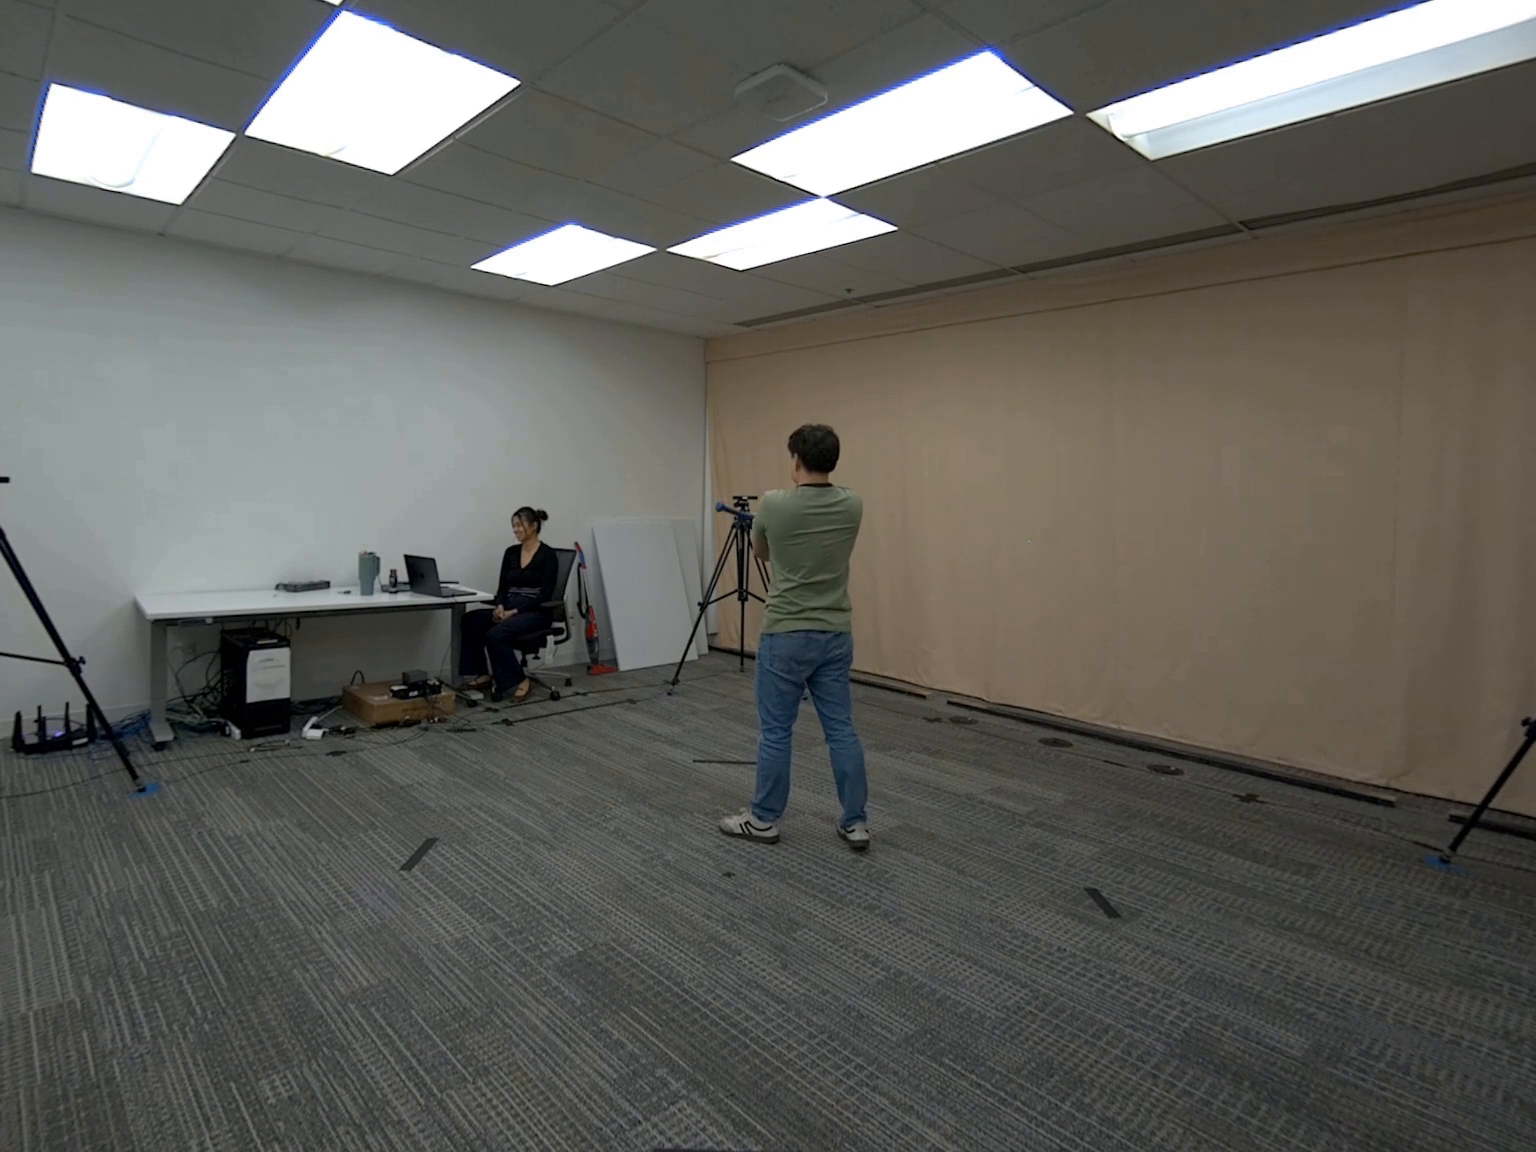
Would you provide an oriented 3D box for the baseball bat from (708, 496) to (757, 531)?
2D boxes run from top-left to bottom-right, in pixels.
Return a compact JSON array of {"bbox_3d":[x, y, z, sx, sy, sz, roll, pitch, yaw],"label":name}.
[{"bbox_3d":[-0.027,-0.245,3.902,0.528,0.089,0.091,18,-6,-36],"label":"baseball bat"}]
